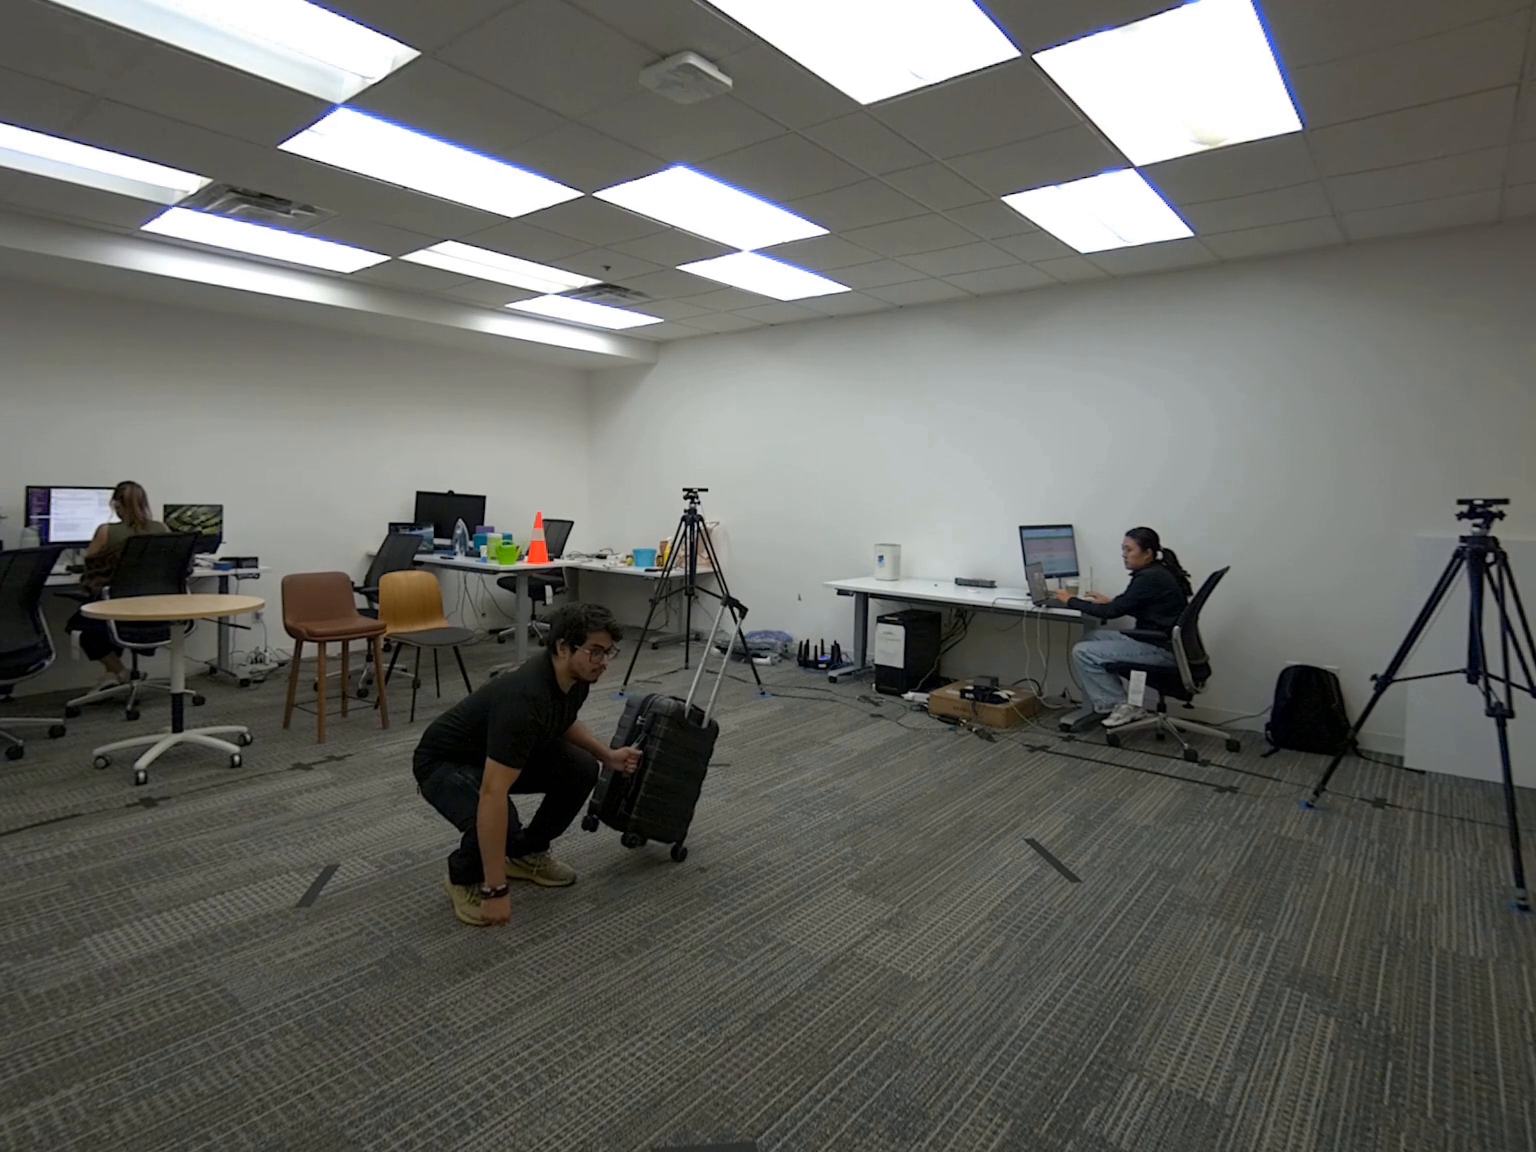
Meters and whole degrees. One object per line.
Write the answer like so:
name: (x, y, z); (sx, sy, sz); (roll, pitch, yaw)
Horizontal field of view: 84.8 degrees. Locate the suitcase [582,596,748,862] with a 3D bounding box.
suitcase: (-0.381, 0.544, 3.265); (0.265, 0.989, 0.368); (1, -22, 38)
